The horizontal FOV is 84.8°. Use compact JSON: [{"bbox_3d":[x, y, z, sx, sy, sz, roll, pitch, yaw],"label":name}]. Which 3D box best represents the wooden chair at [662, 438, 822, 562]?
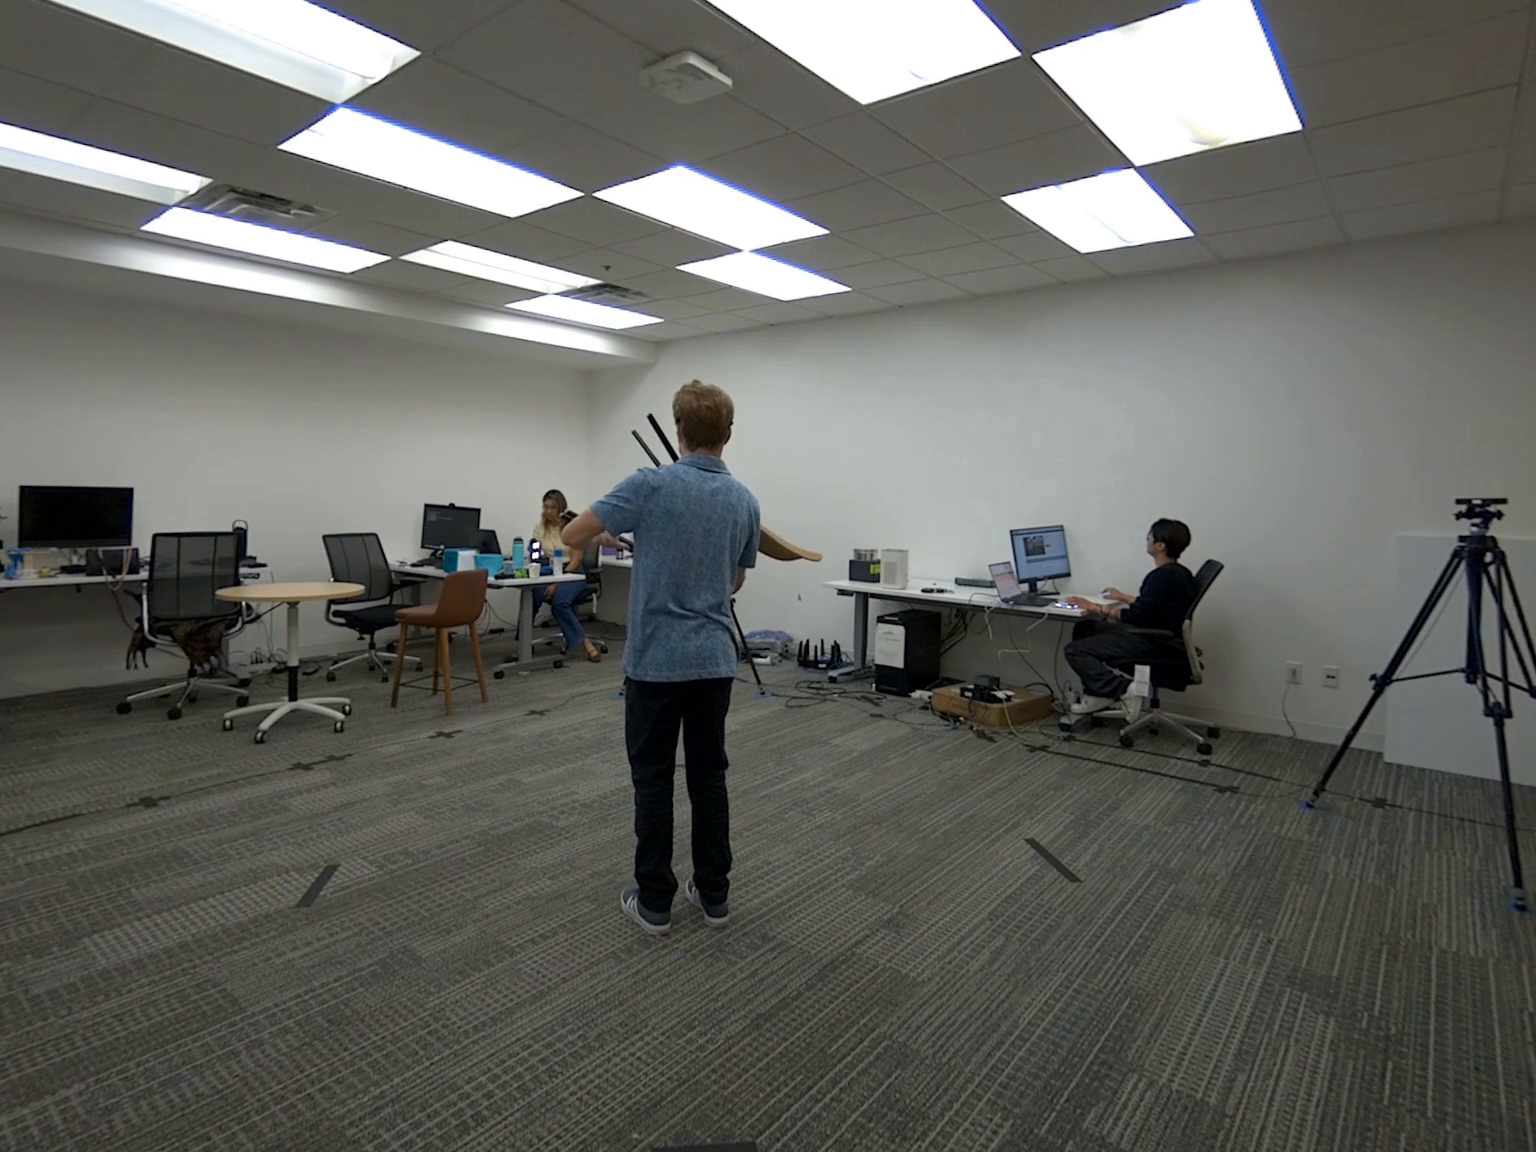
[{"bbox_3d":[-0.308,-0.119,3.191,0.864,0.524,0.485,37,-9,-11],"label":"wooden chair"}]
